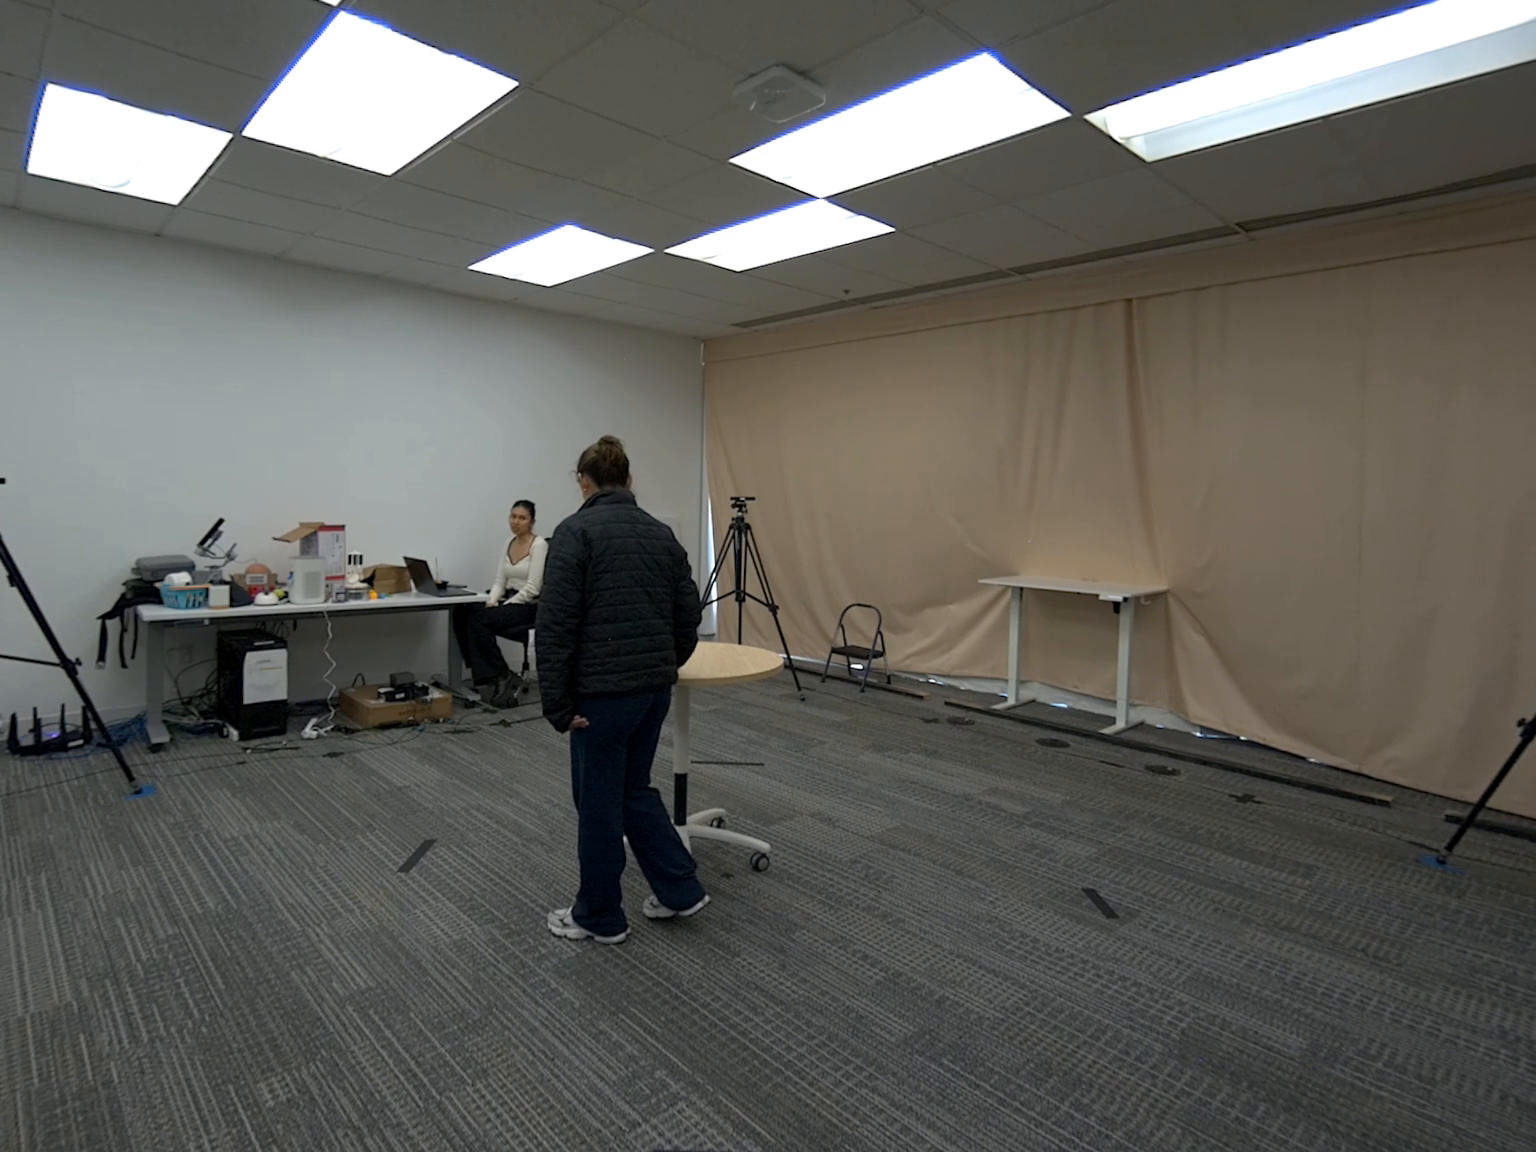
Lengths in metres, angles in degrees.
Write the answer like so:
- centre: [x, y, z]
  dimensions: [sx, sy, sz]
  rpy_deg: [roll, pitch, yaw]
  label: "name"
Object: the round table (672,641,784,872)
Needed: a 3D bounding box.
- centre: [-0.327, 0.703, 3.216]
  dimensions: [0.784, 0.784, 0.788]
  rpy_deg: [1, 4, -1]
  label: "round table"
